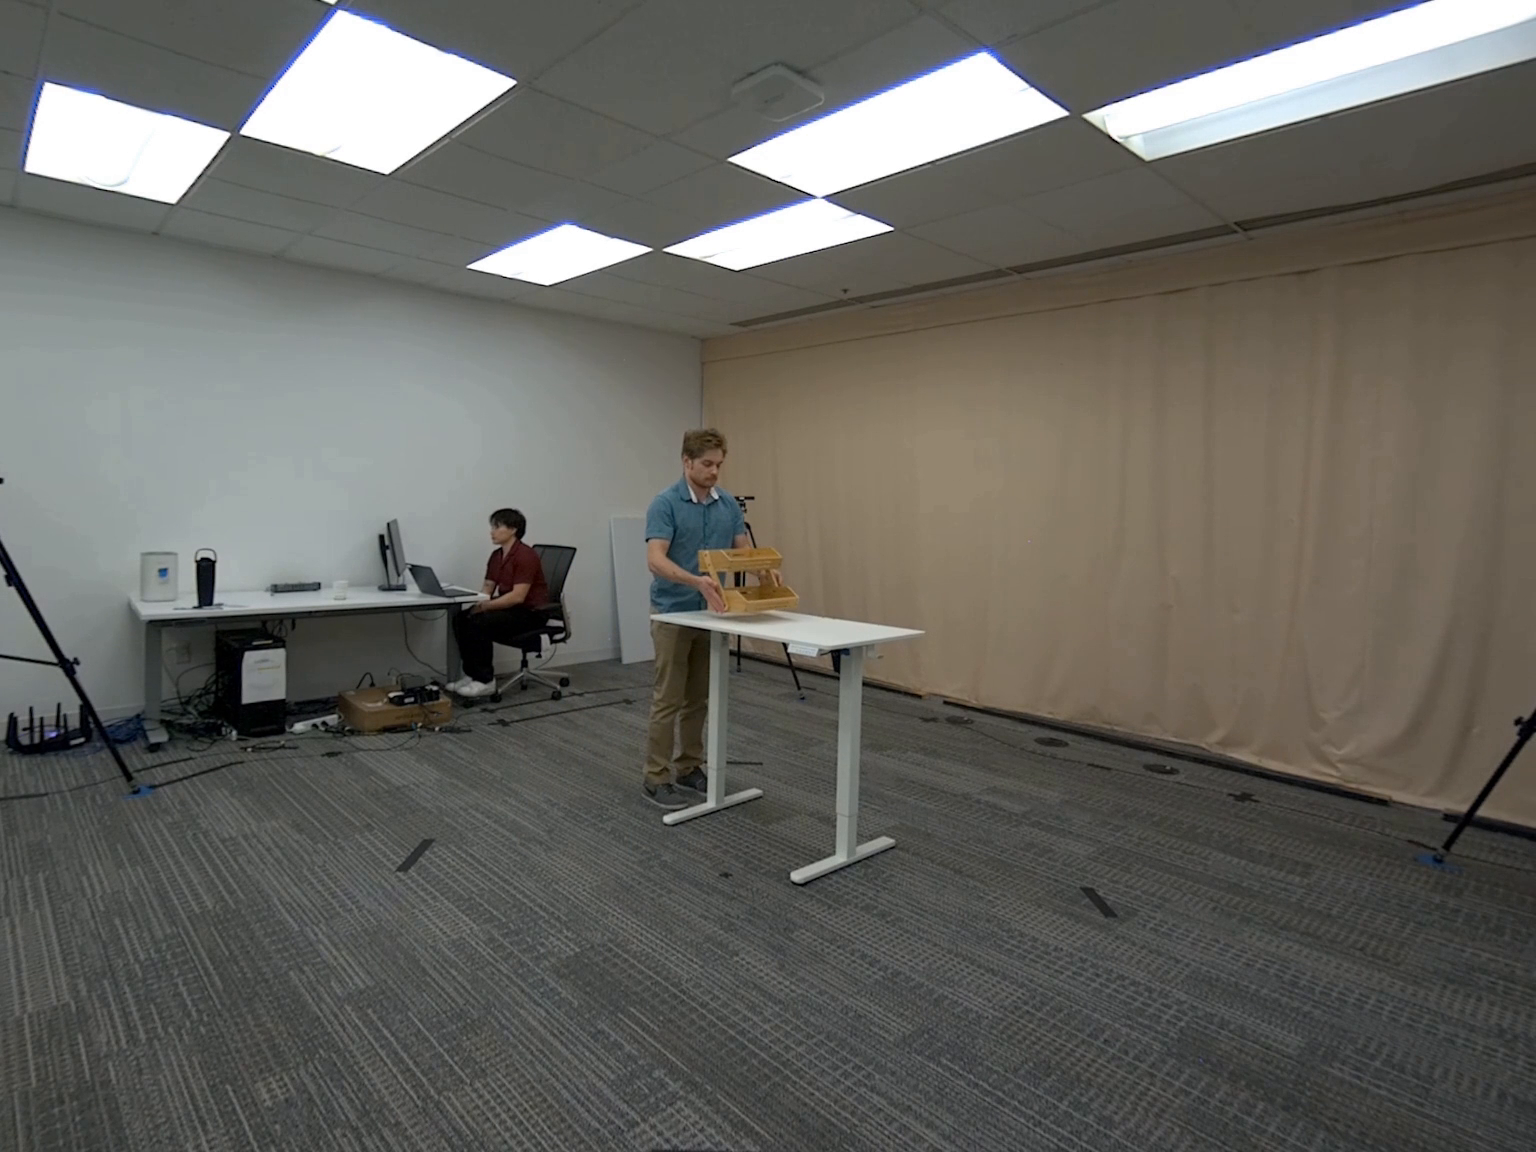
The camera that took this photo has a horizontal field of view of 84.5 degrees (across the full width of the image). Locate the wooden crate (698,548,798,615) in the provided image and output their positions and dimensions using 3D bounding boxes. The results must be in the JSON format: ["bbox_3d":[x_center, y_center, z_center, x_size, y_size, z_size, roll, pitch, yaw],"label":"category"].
[{"bbox_3d":[-0.093,0.010,3.597,0.317,0.273,0.309,-3,1,-42],"label":"wooden crate"}]
